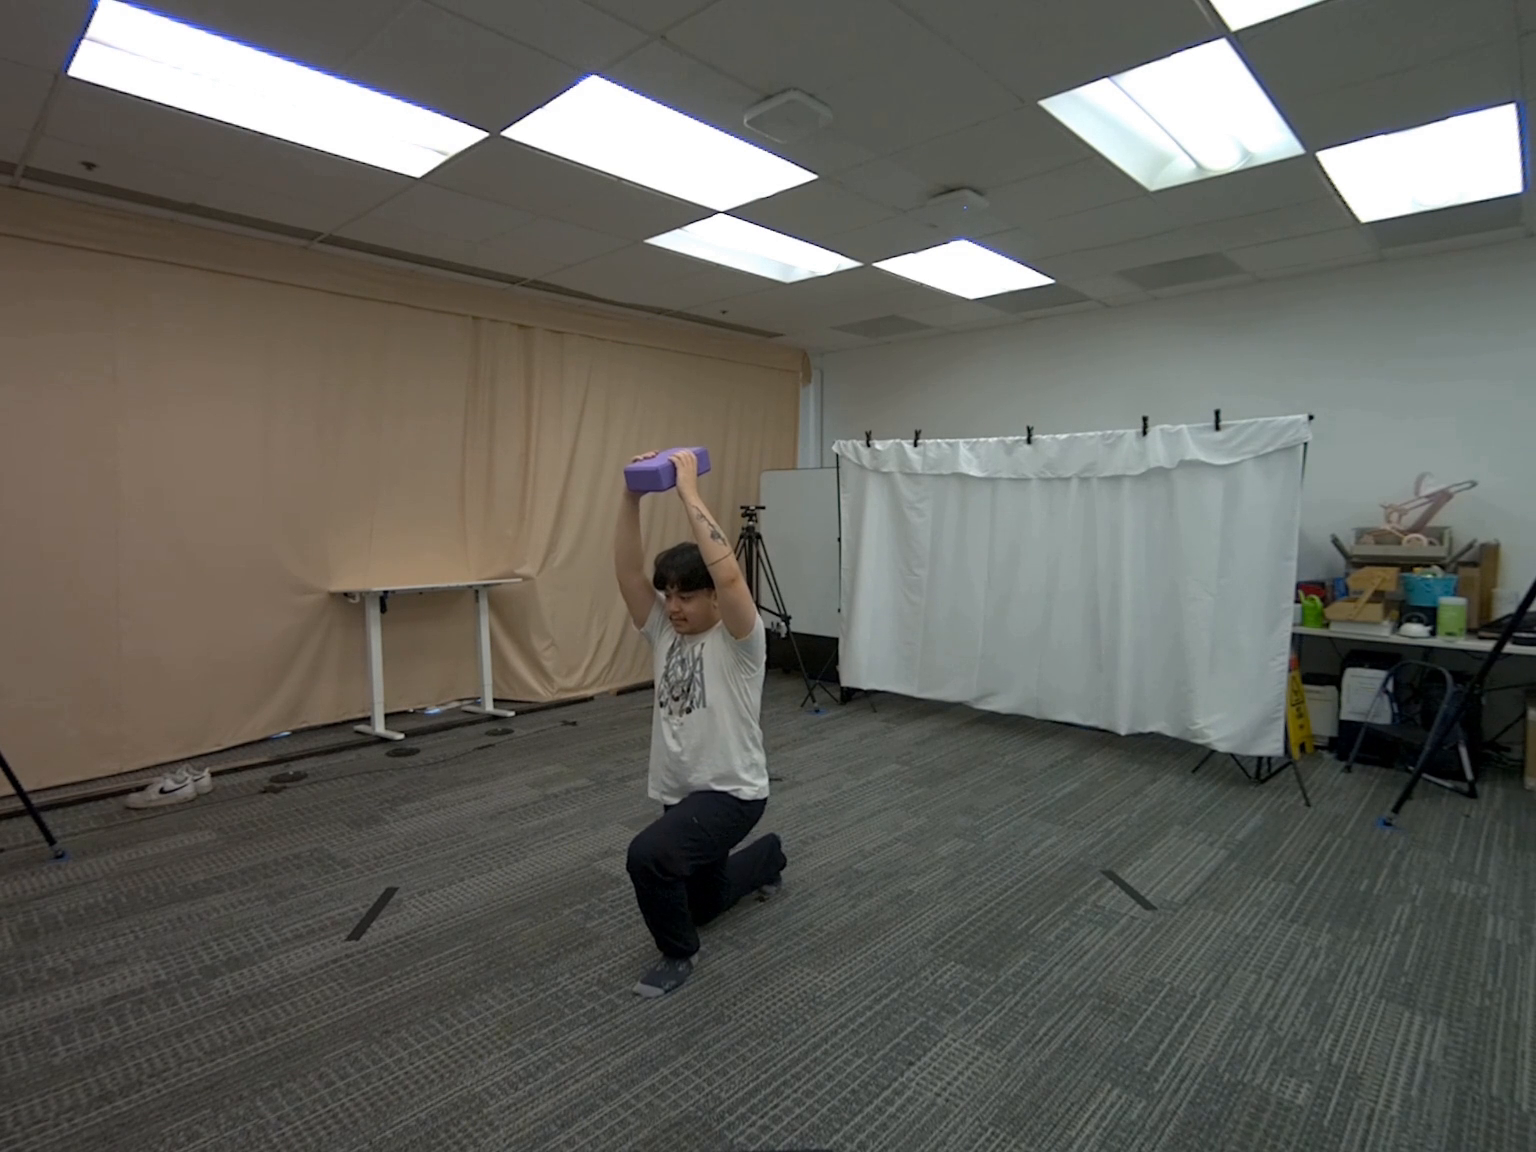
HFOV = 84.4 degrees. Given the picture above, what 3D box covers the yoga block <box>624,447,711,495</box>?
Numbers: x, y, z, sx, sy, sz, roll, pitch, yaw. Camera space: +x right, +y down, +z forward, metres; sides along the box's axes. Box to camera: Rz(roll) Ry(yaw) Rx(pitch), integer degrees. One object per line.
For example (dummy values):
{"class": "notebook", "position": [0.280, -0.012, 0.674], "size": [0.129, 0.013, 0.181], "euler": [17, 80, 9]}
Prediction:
{"class": "yoga block", "position": [-0.300, -0.323, 2.486], "size": [0.154, 0.075, 0.225], "euler": [5, 24, 39]}
